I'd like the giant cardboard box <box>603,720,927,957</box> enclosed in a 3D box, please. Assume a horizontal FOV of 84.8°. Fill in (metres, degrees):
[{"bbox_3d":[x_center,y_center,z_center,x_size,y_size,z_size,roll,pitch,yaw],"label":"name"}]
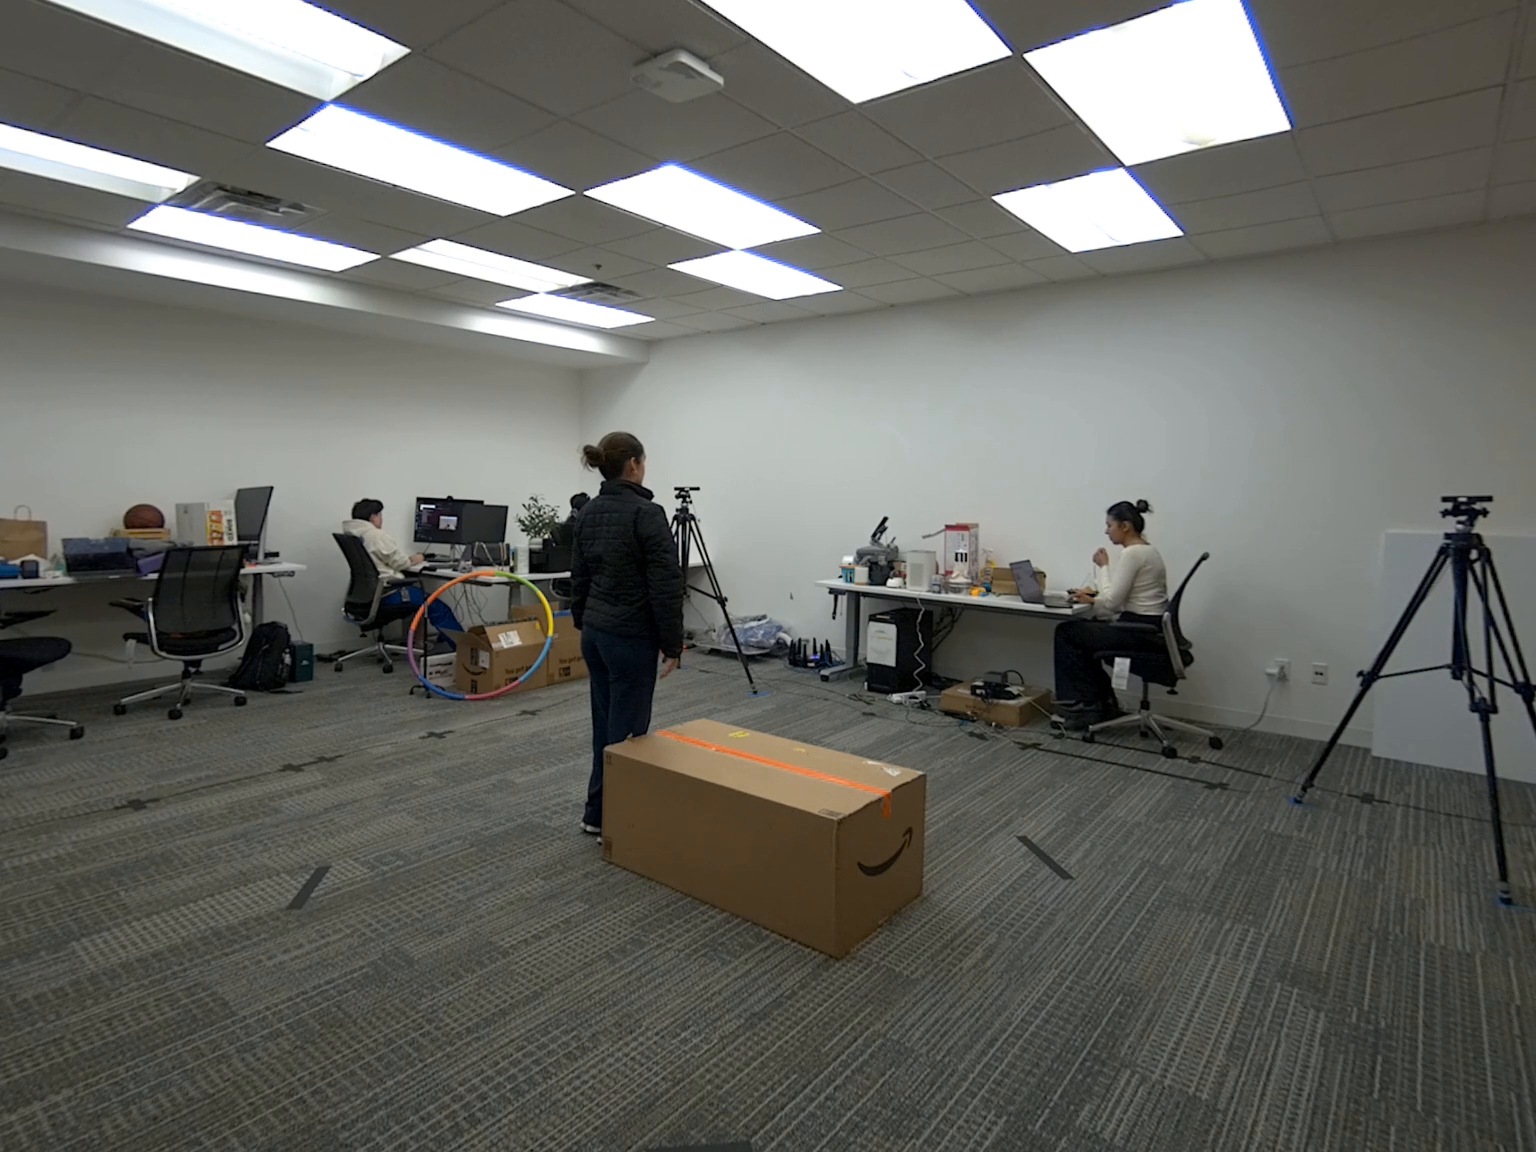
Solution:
[{"bbox_3d":[-0.023,0.864,3.059,1.062,0.445,0.567,6,8,38],"label":"giant cardboard box"}]
